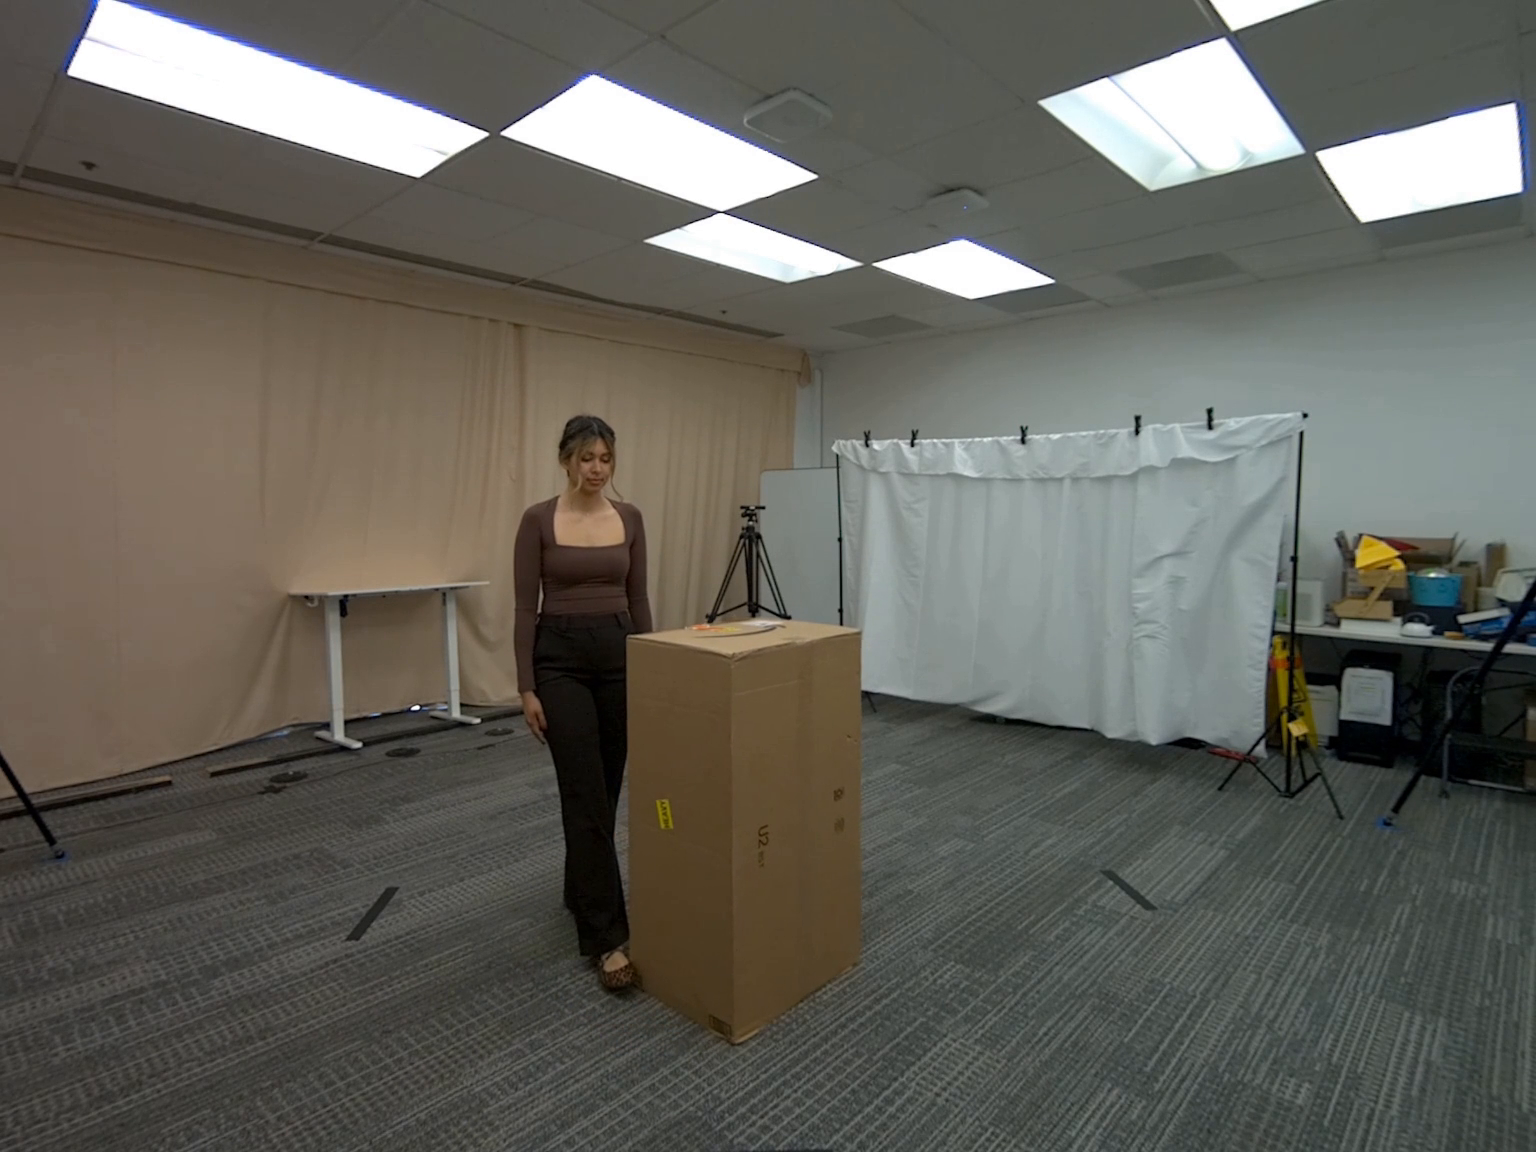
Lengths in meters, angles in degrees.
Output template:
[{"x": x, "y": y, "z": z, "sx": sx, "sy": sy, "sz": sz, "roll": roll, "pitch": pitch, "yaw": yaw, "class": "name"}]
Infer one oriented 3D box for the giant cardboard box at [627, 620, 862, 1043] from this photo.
[{"x": -0.060, "y": 0.675, "z": 2.489, "sx": 0.461, "sy": 1.025, "sz": 0.566, "roll": 2, "pitch": 4, "yaw": 44, "class": "giant cardboard box"}]
